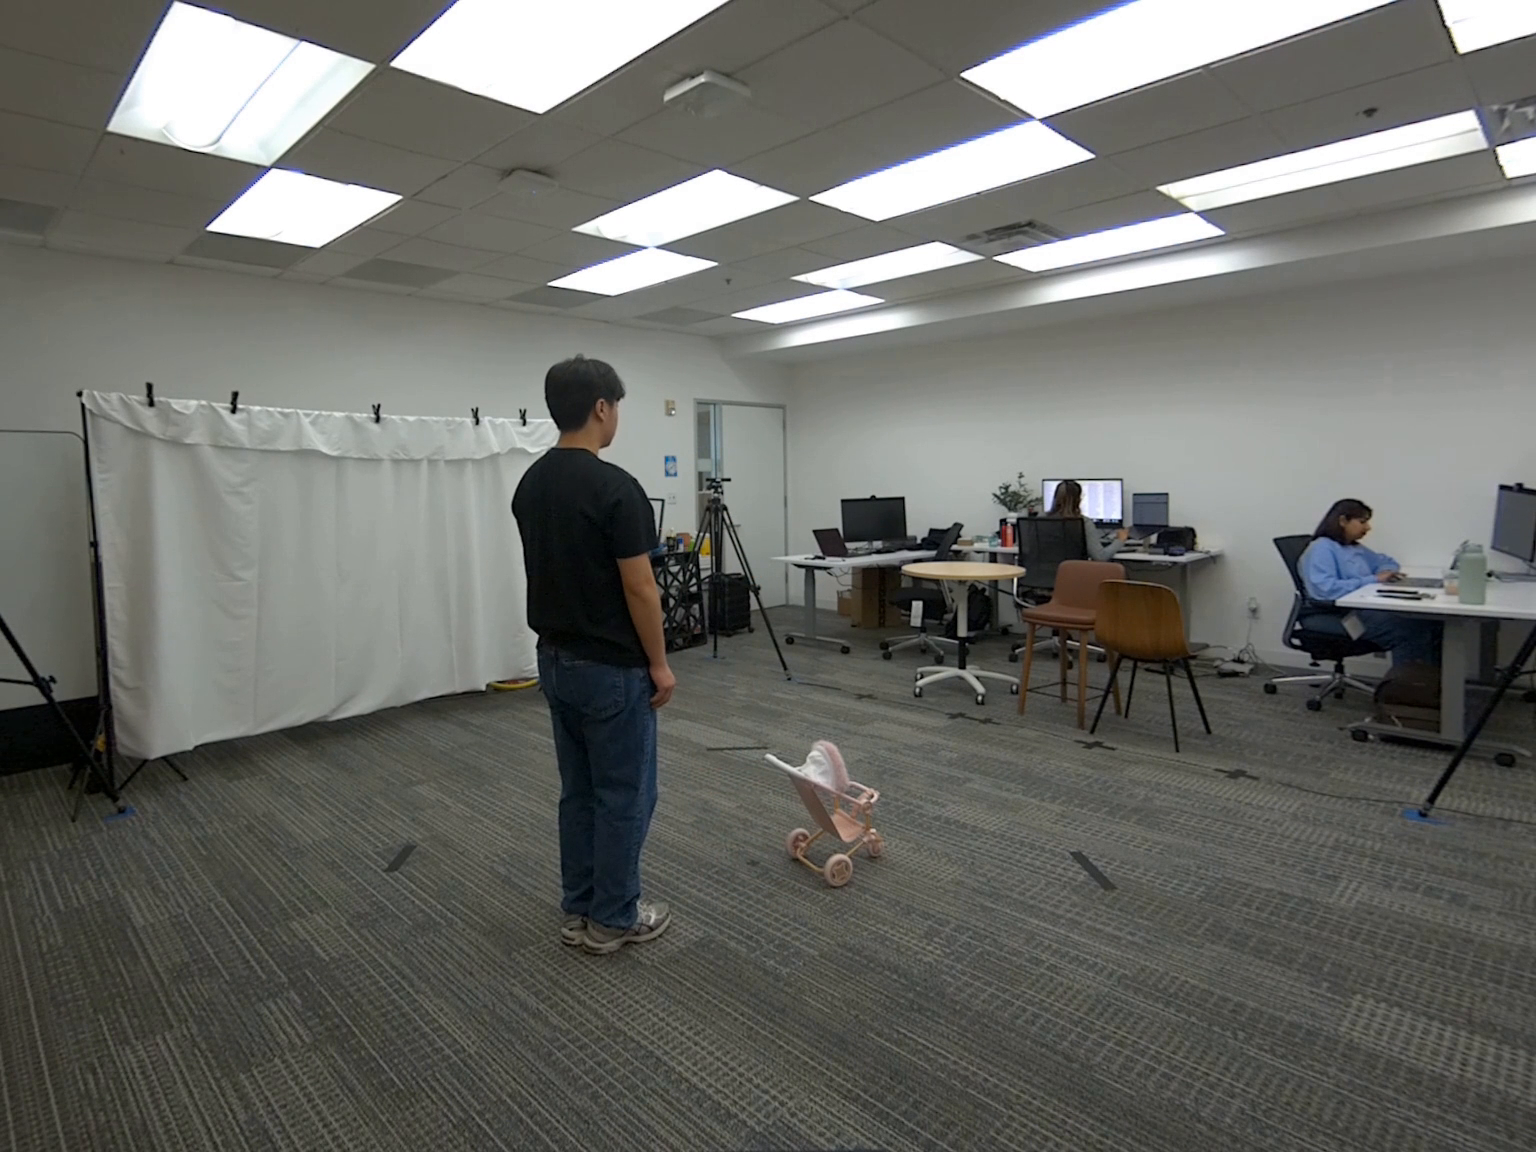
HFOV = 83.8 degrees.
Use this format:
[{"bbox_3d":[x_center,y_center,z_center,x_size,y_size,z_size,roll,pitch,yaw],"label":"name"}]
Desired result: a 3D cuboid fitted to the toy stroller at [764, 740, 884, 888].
[{"bbox_3d":[0.234,0.822,3.041,0.337,0.529,0.288,-20,11,-22],"label":"toy stroller"}]
